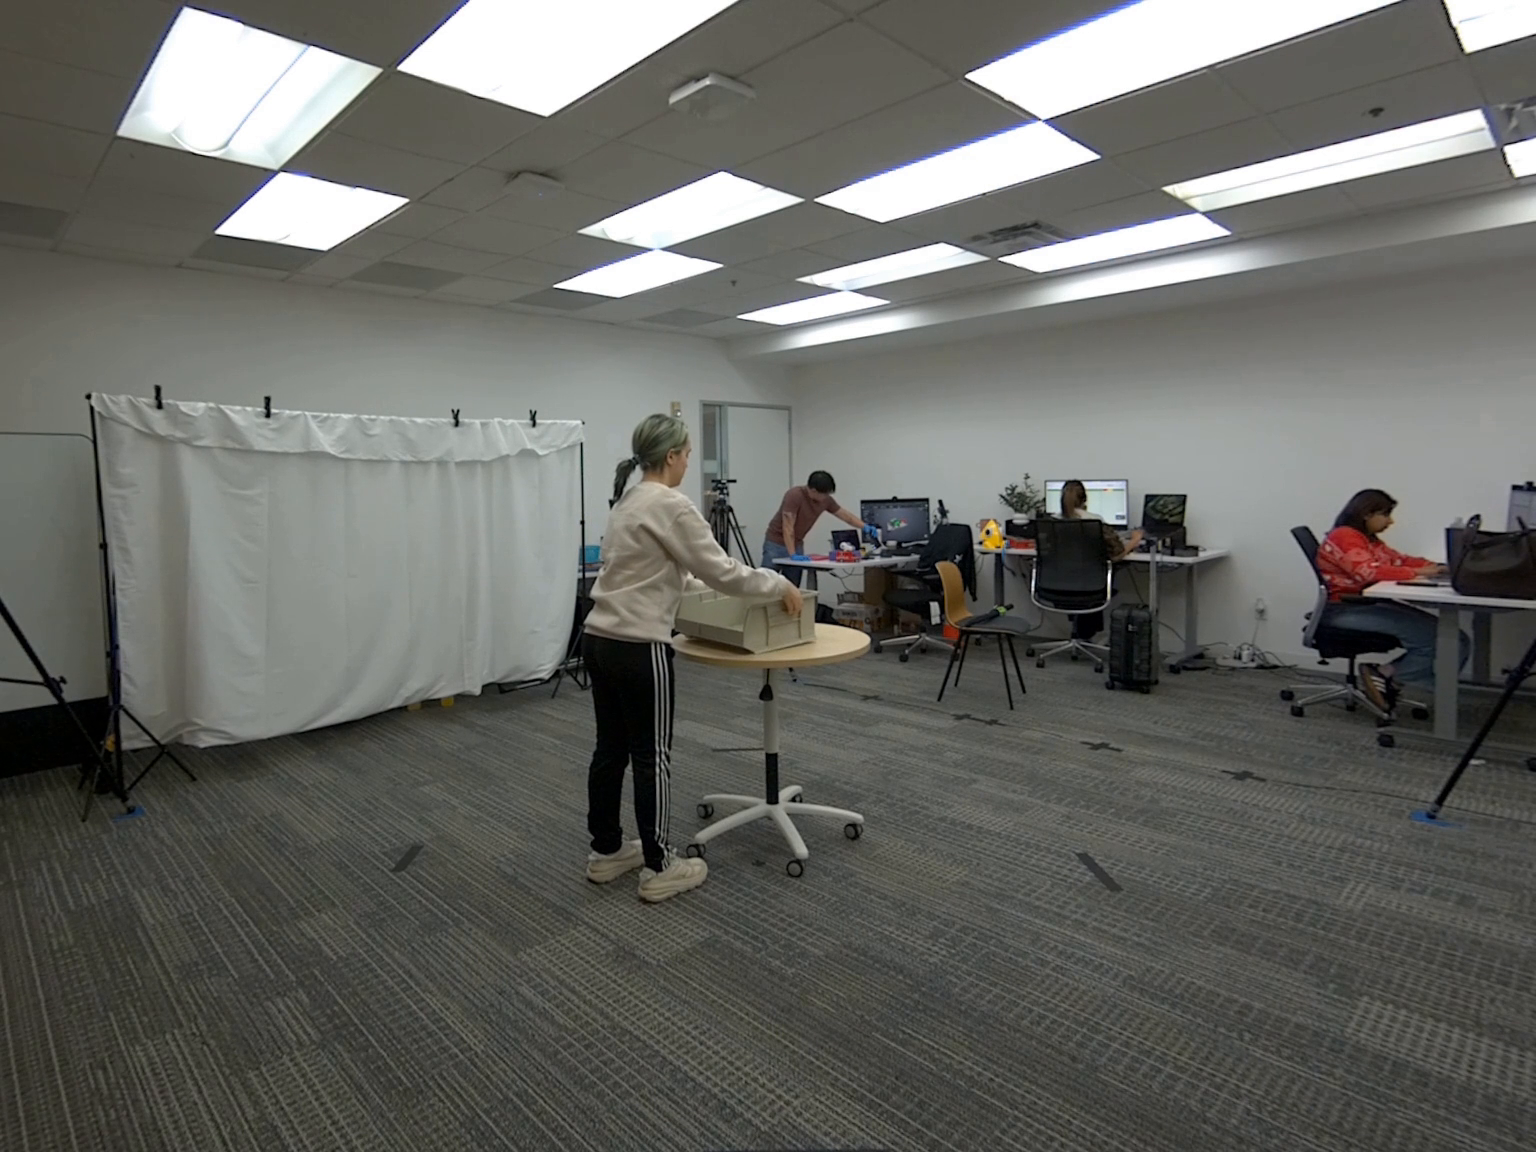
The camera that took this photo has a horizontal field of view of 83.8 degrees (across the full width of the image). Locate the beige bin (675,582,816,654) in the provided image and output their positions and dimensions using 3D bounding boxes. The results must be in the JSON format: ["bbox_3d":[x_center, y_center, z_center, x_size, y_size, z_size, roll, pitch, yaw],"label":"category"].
[{"bbox_3d":[-0.085,0.155,3.231,0.367,0.188,0.435,-6,8,-40],"label":"beige bin"}]
